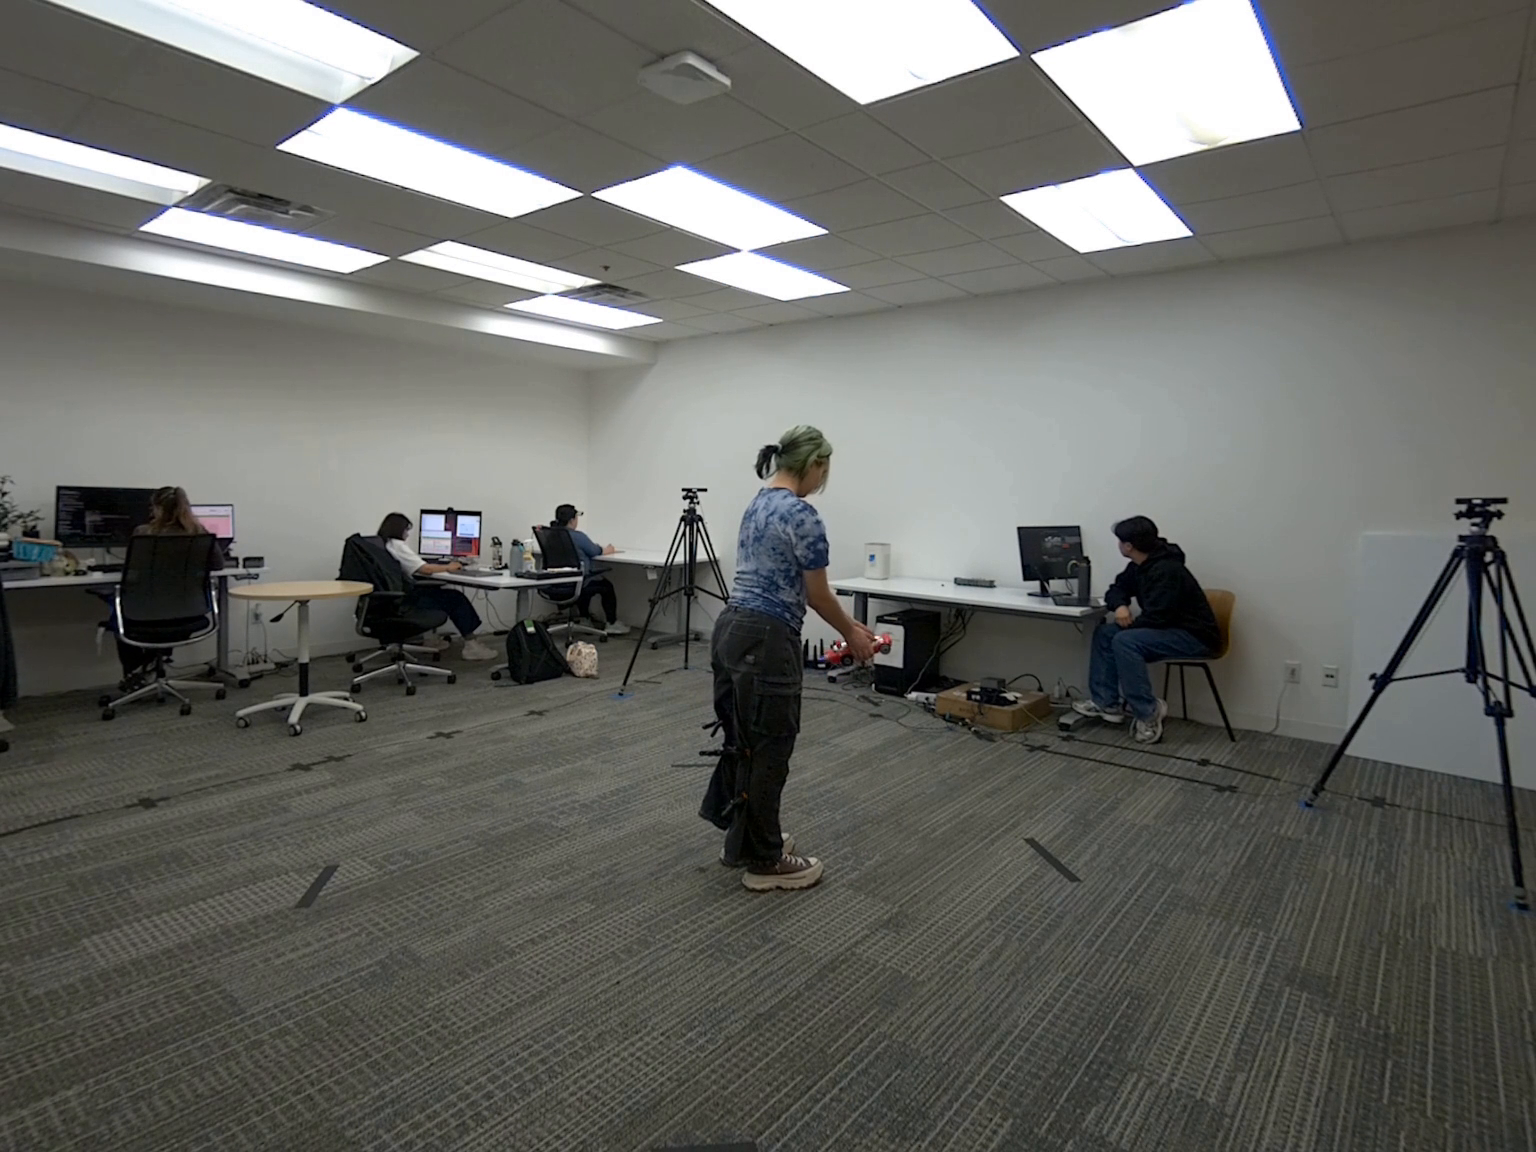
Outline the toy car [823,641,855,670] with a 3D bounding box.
[{"bbox_3d":[0.329,0.279,3.168,0.255,0.082,0.131,-9,12,3],"label":"toy car"}]
